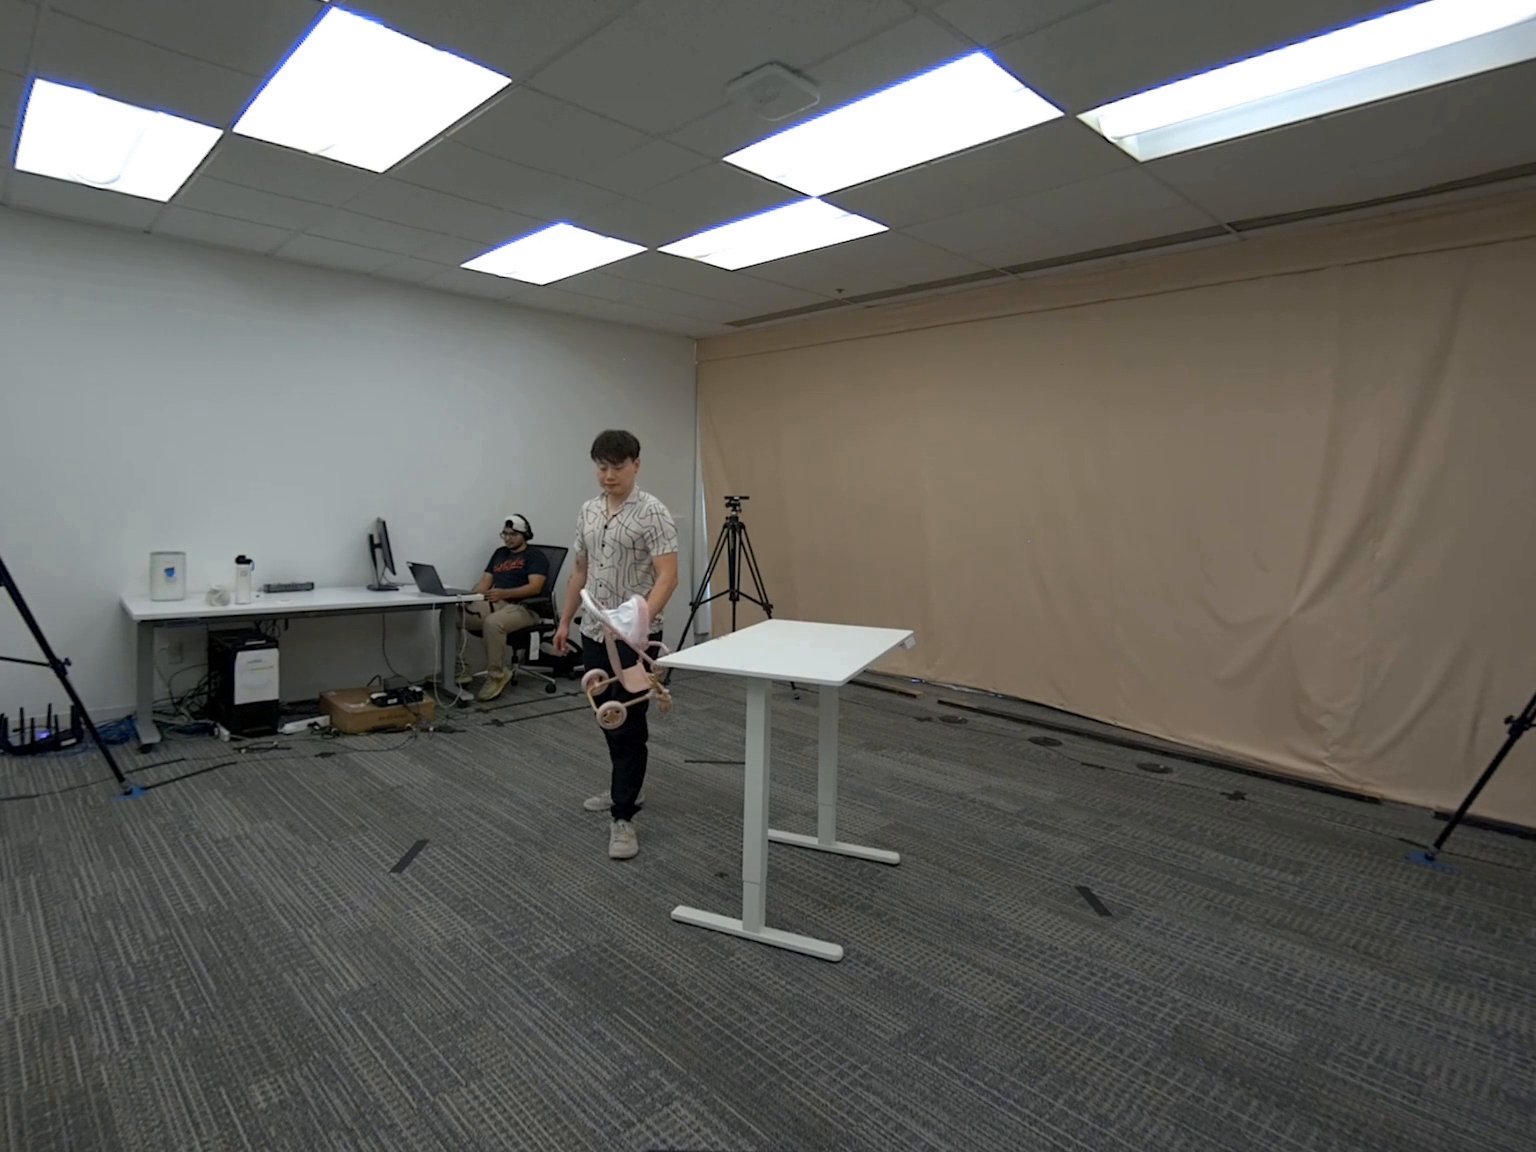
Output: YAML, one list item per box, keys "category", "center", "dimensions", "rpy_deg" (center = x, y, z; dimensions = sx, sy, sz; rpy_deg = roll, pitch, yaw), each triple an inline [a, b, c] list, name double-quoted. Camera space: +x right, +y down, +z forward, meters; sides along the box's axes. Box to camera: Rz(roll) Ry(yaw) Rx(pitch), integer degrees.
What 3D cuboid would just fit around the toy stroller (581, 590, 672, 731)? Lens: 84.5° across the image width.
- category: "toy stroller"
  center: [-0.509, 0.298, 3.119]
  dimensions: [0.337, 0.527, 0.289]
  rpy_deg: [-5, 21, -18]
